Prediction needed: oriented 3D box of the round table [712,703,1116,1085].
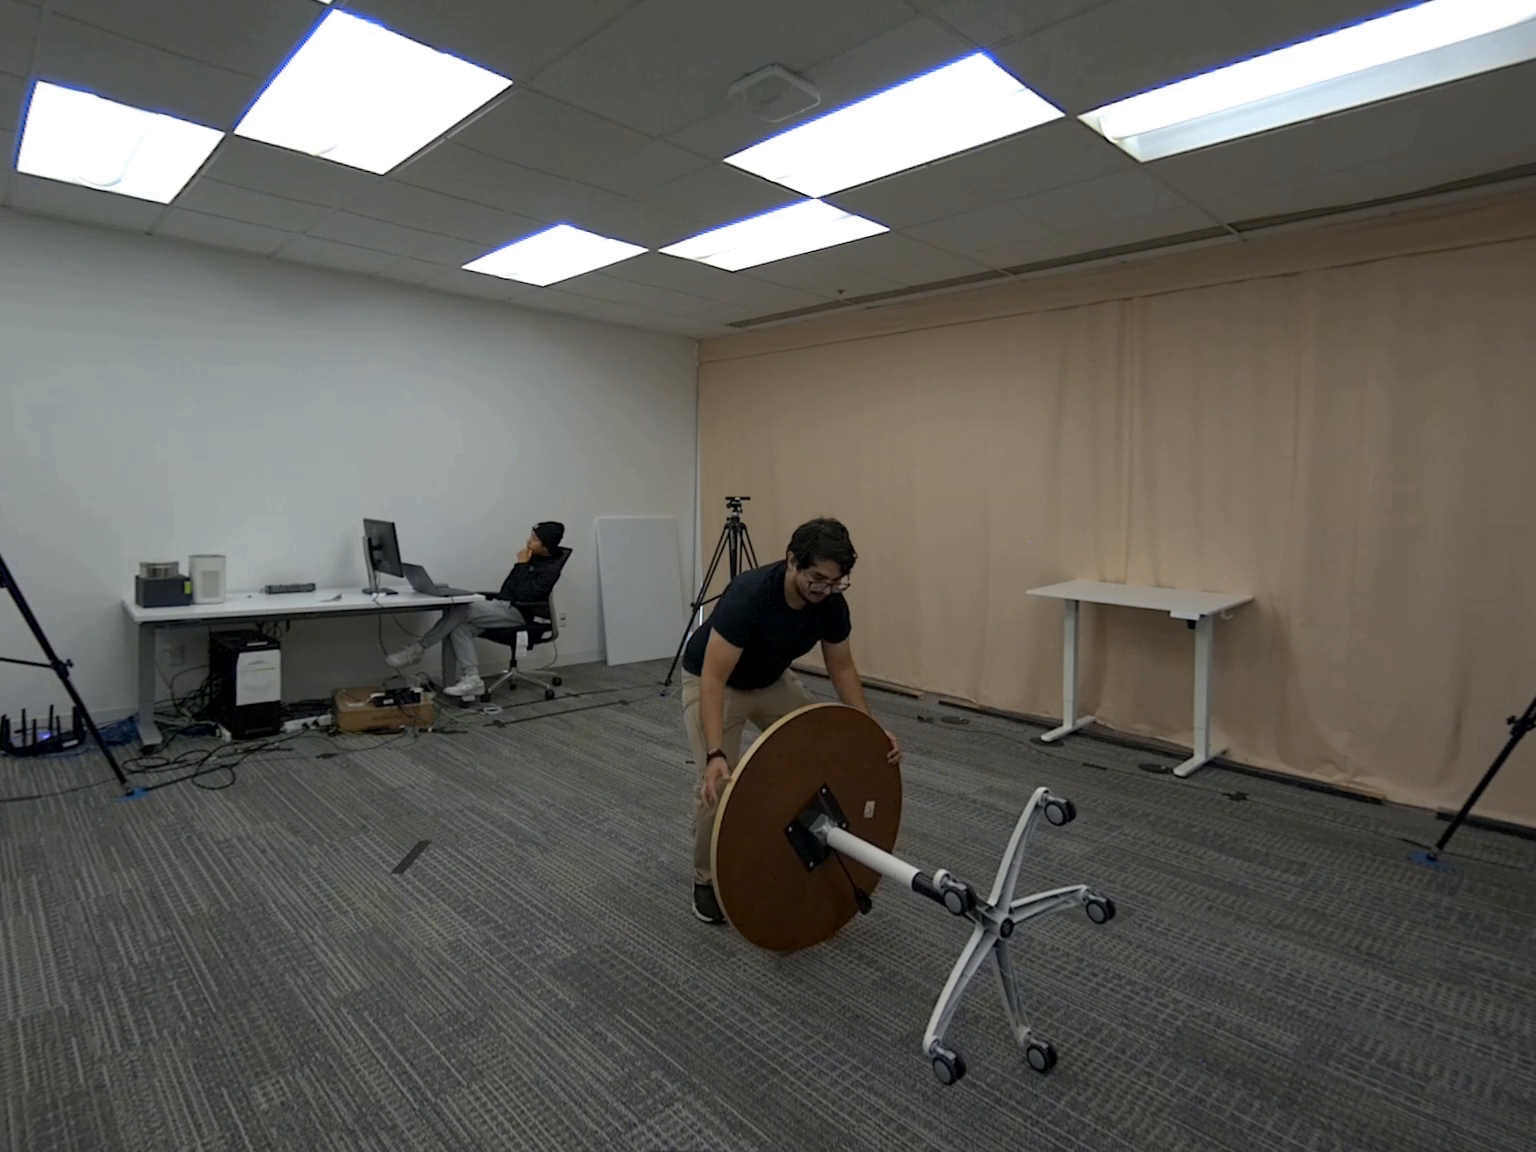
[{"bbox_3d":[0.372,0.819,2.291,0.768,0.782,0.807,-2,7,-37],"label":"round table"}]
